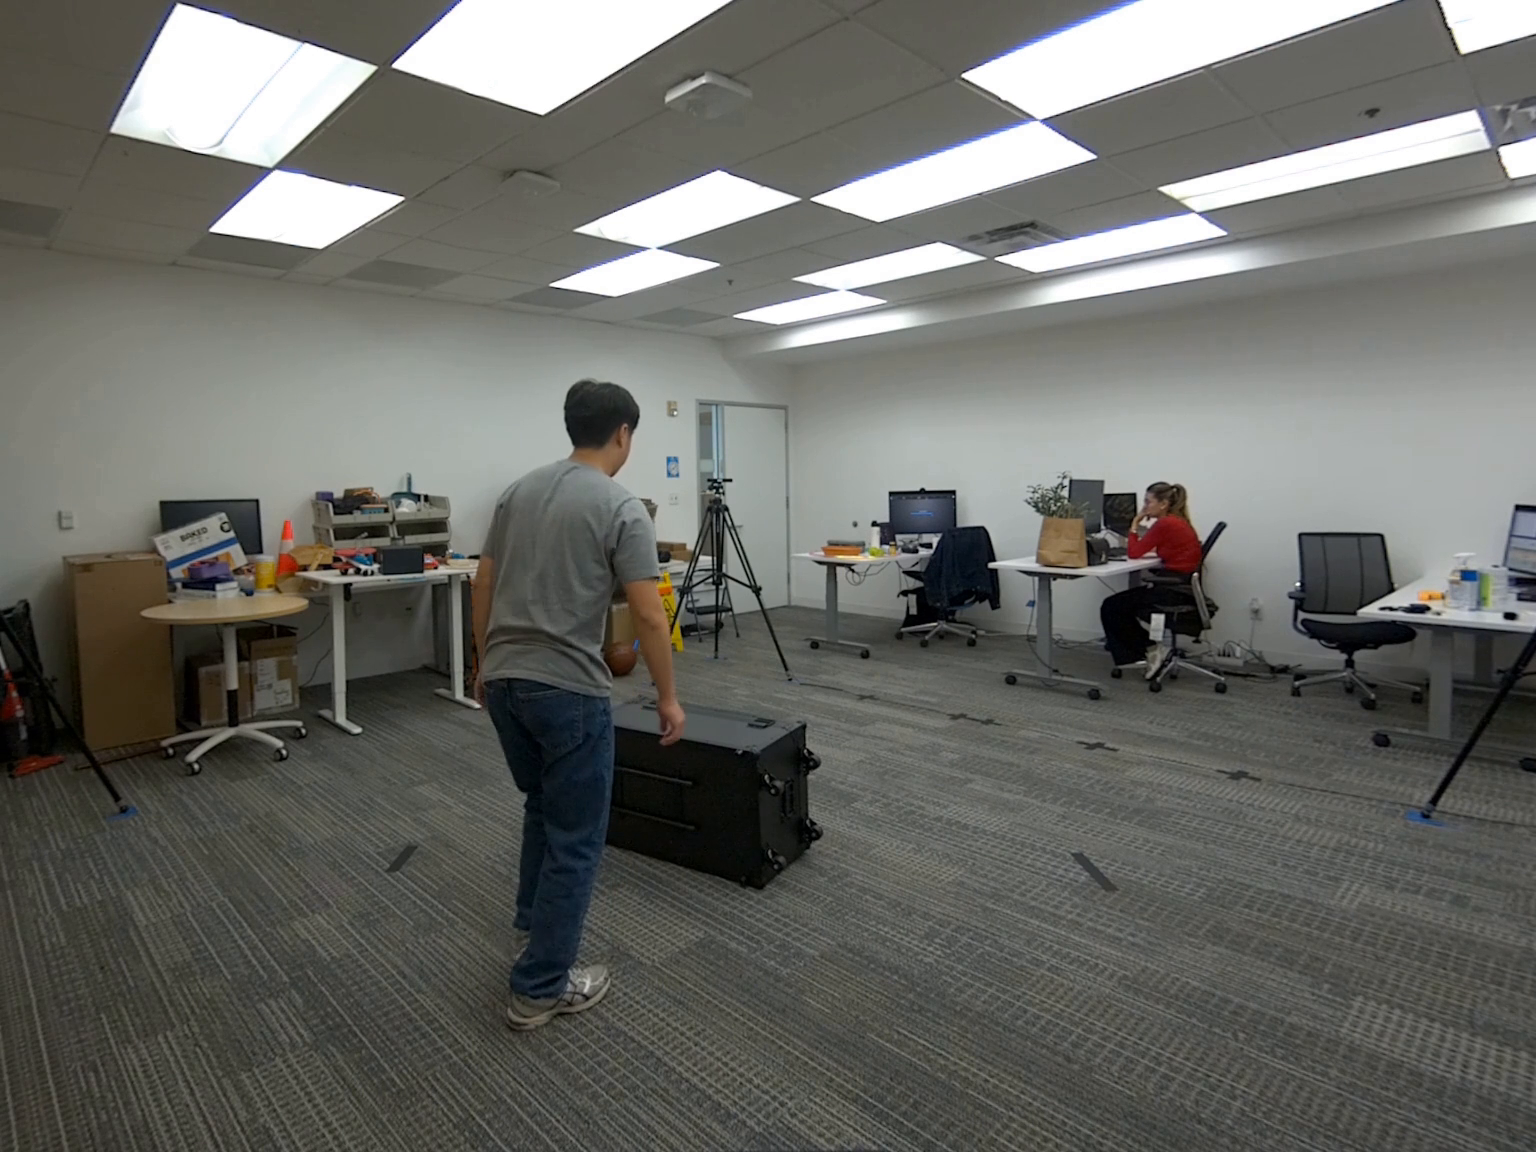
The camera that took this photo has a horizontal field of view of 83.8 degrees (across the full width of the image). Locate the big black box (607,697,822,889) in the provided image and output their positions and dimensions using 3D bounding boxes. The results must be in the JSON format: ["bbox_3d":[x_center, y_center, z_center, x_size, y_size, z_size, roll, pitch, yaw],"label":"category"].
[{"bbox_3d":[-0.253,0.779,3.209,0.885,0.518,0.388,2,8,32],"label":"big black box"}]
